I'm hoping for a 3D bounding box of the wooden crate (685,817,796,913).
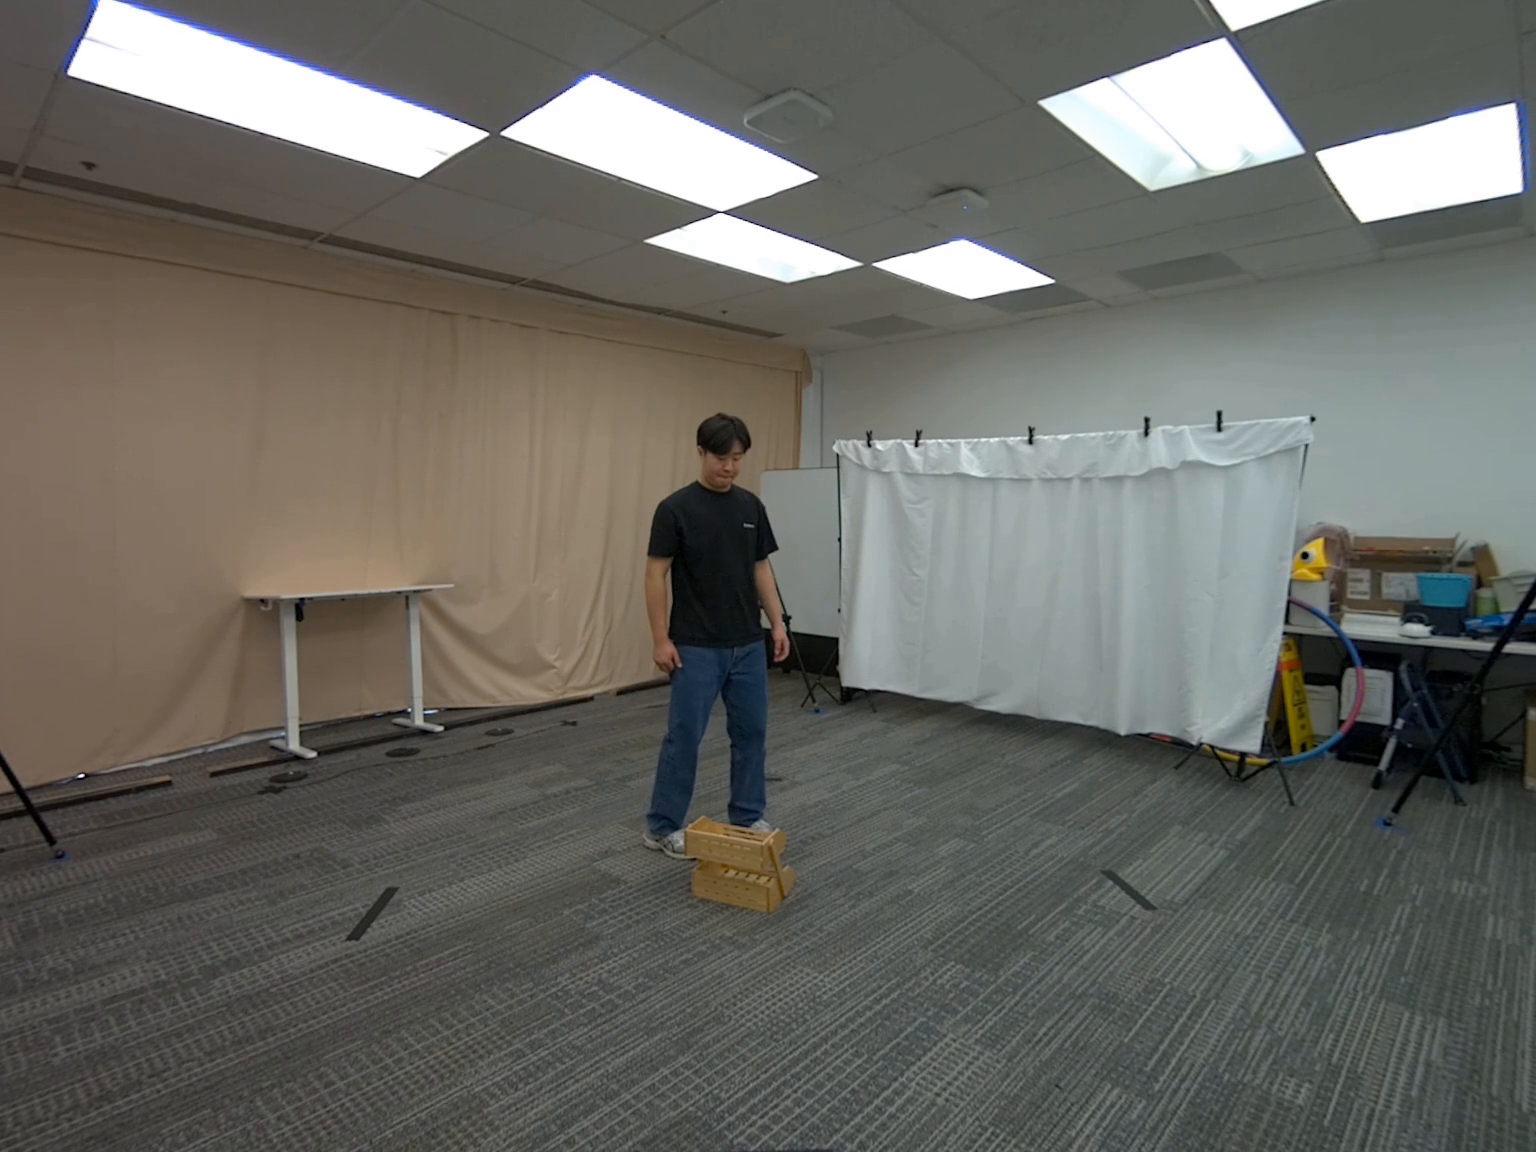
[{"bbox_3d":[-0.094,1.007,3.029,0.333,0.273,0.295,2,4,25],"label":"wooden crate"}]
